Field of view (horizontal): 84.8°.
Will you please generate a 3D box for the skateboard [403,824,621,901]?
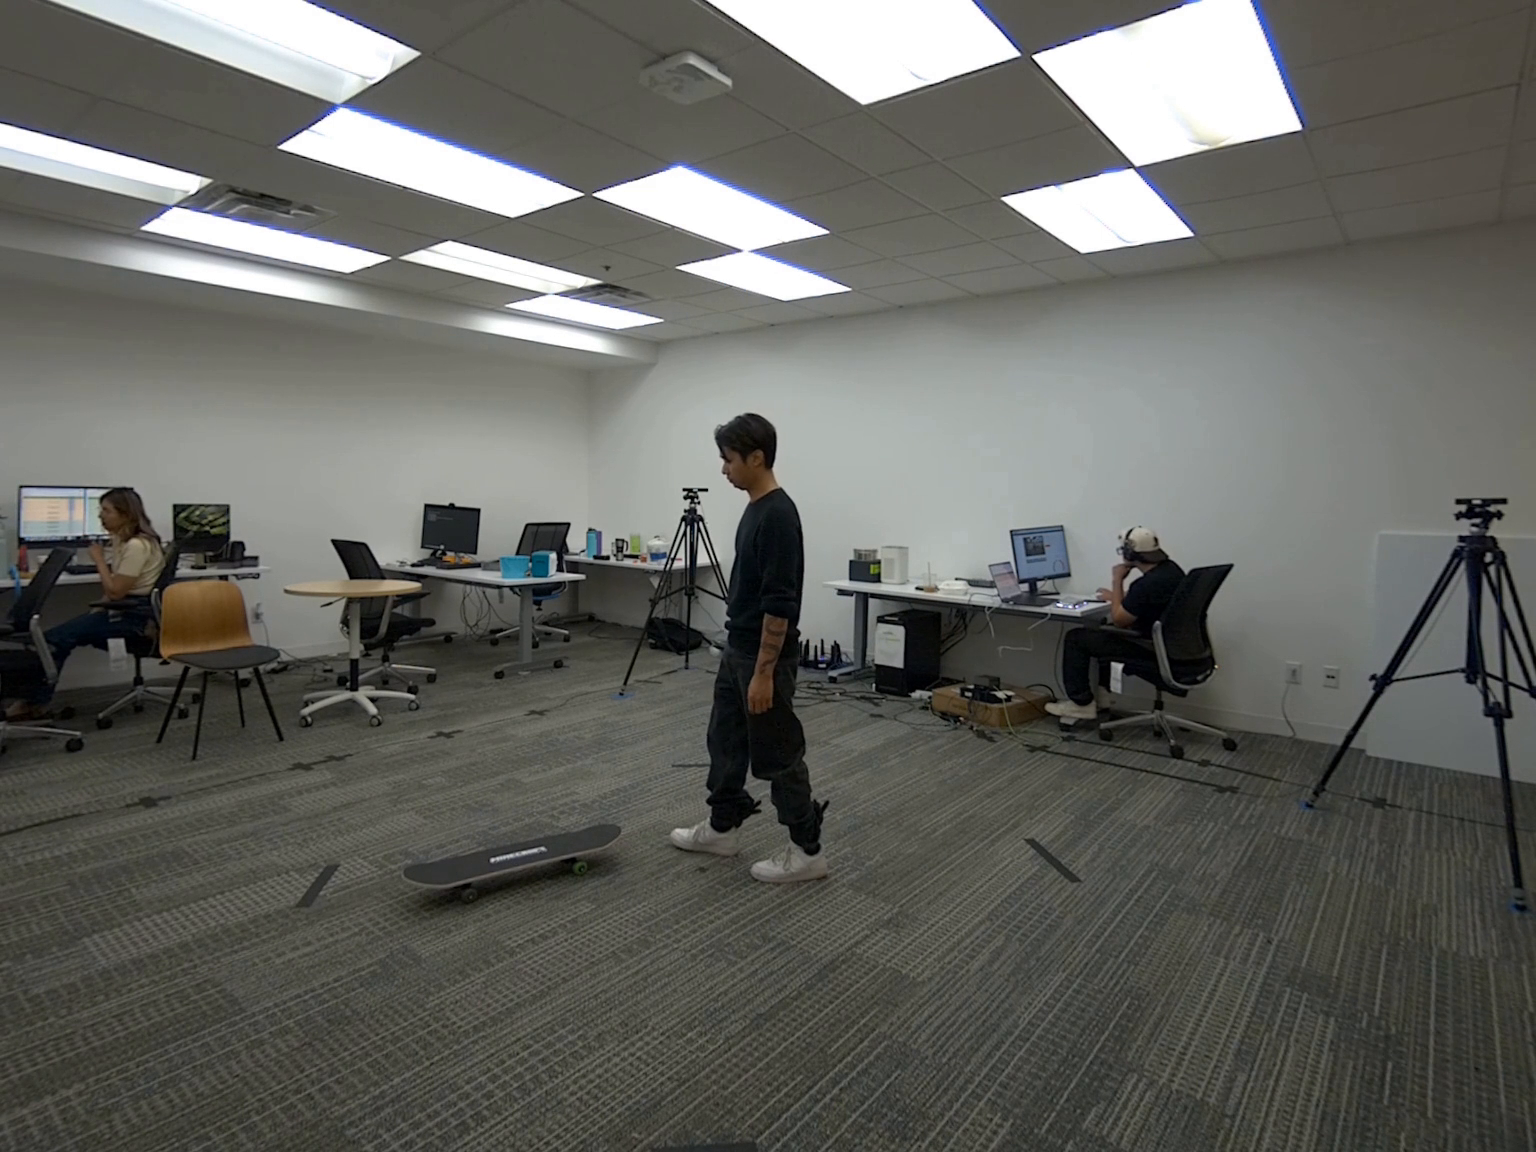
[{"bbox_3d":[-0.889,1.017,3.007,0.764,0.110,0.200,-3,6,-33],"label":"skateboard"}]
